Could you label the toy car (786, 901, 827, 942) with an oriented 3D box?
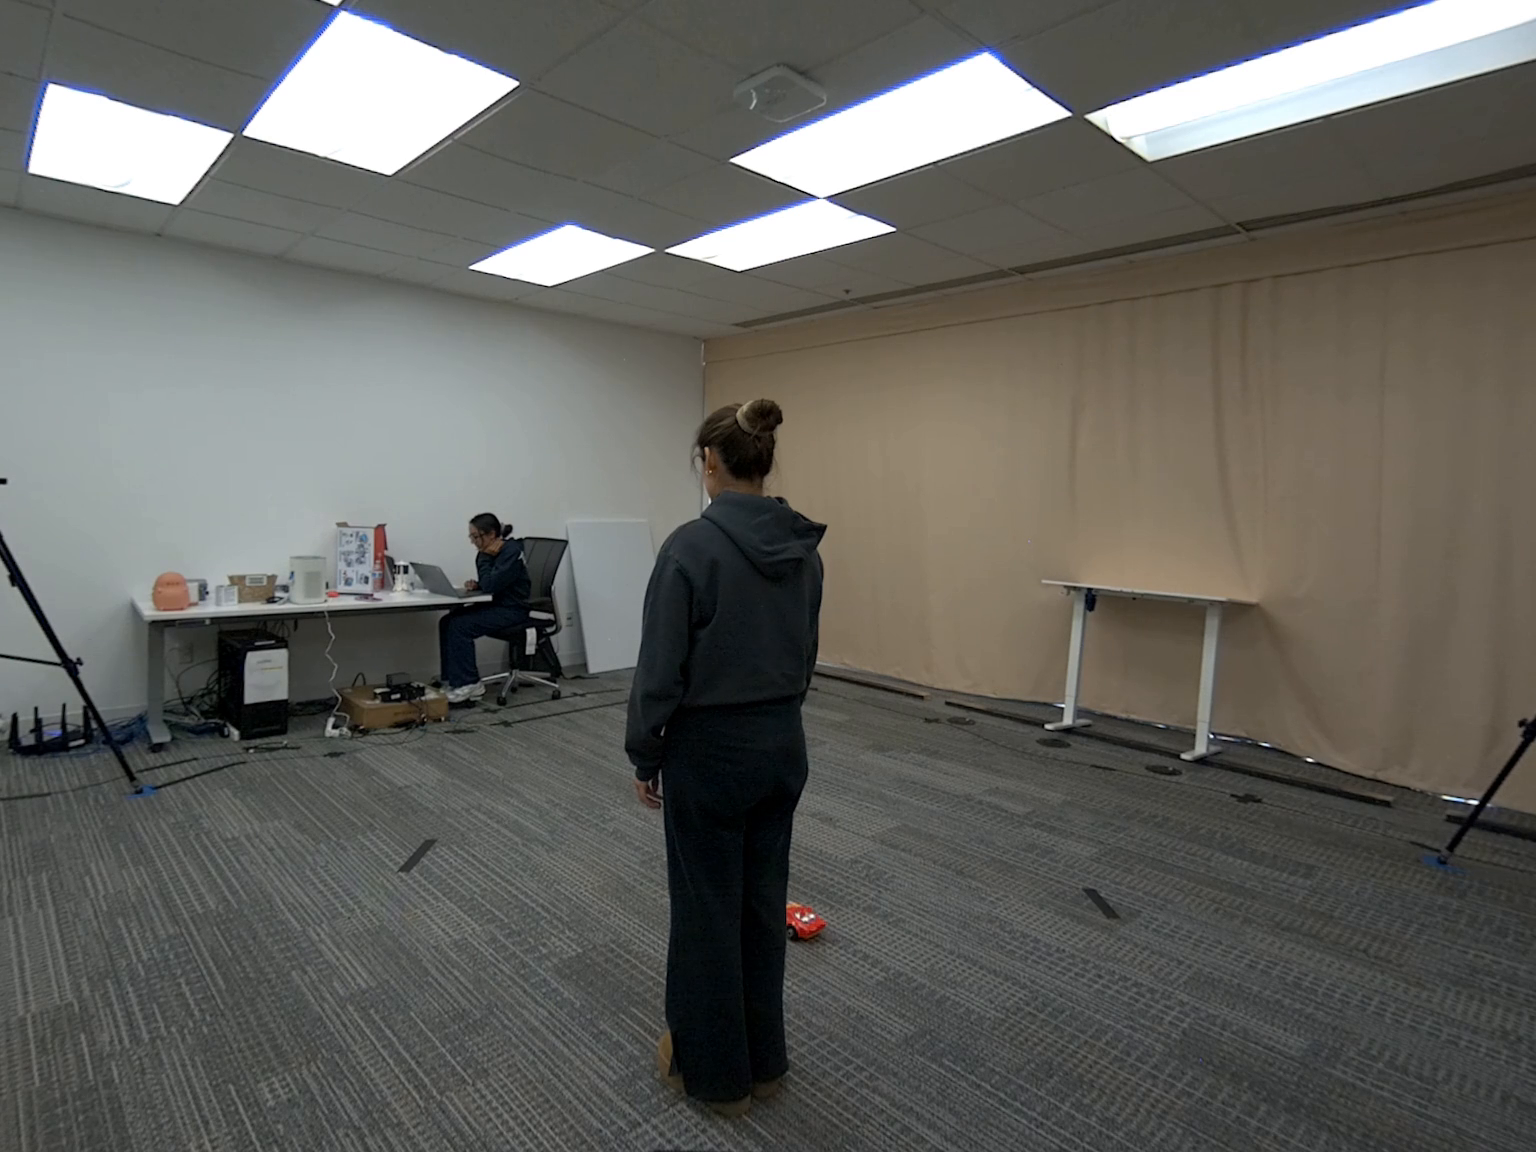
[{"bbox_3d":[0.072,1.114,2.742,0.127,0.083,0.259,-3,-4,-43],"label":"toy car"}]
